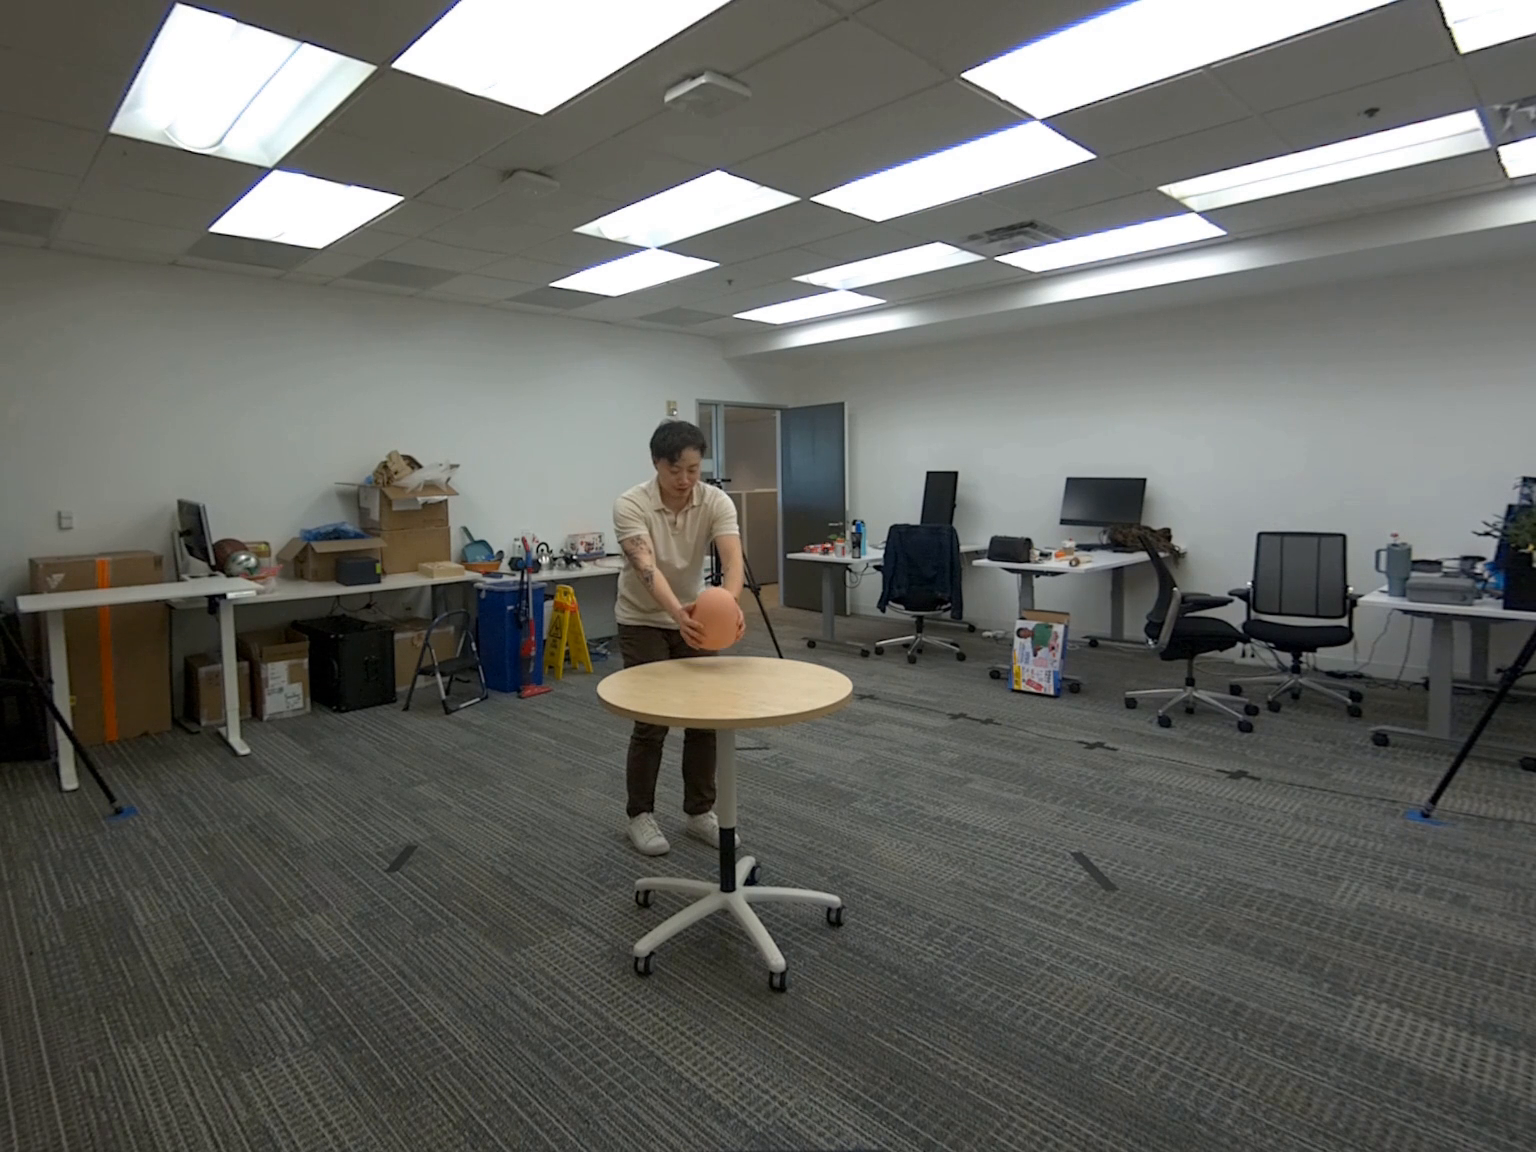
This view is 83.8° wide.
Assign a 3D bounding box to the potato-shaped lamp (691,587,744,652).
[{"bbox_3d":[-0.173,0.131,2.772,0.162,0.195,0.177,-1,20,-17],"label":"potato-shaped lamp"}]
